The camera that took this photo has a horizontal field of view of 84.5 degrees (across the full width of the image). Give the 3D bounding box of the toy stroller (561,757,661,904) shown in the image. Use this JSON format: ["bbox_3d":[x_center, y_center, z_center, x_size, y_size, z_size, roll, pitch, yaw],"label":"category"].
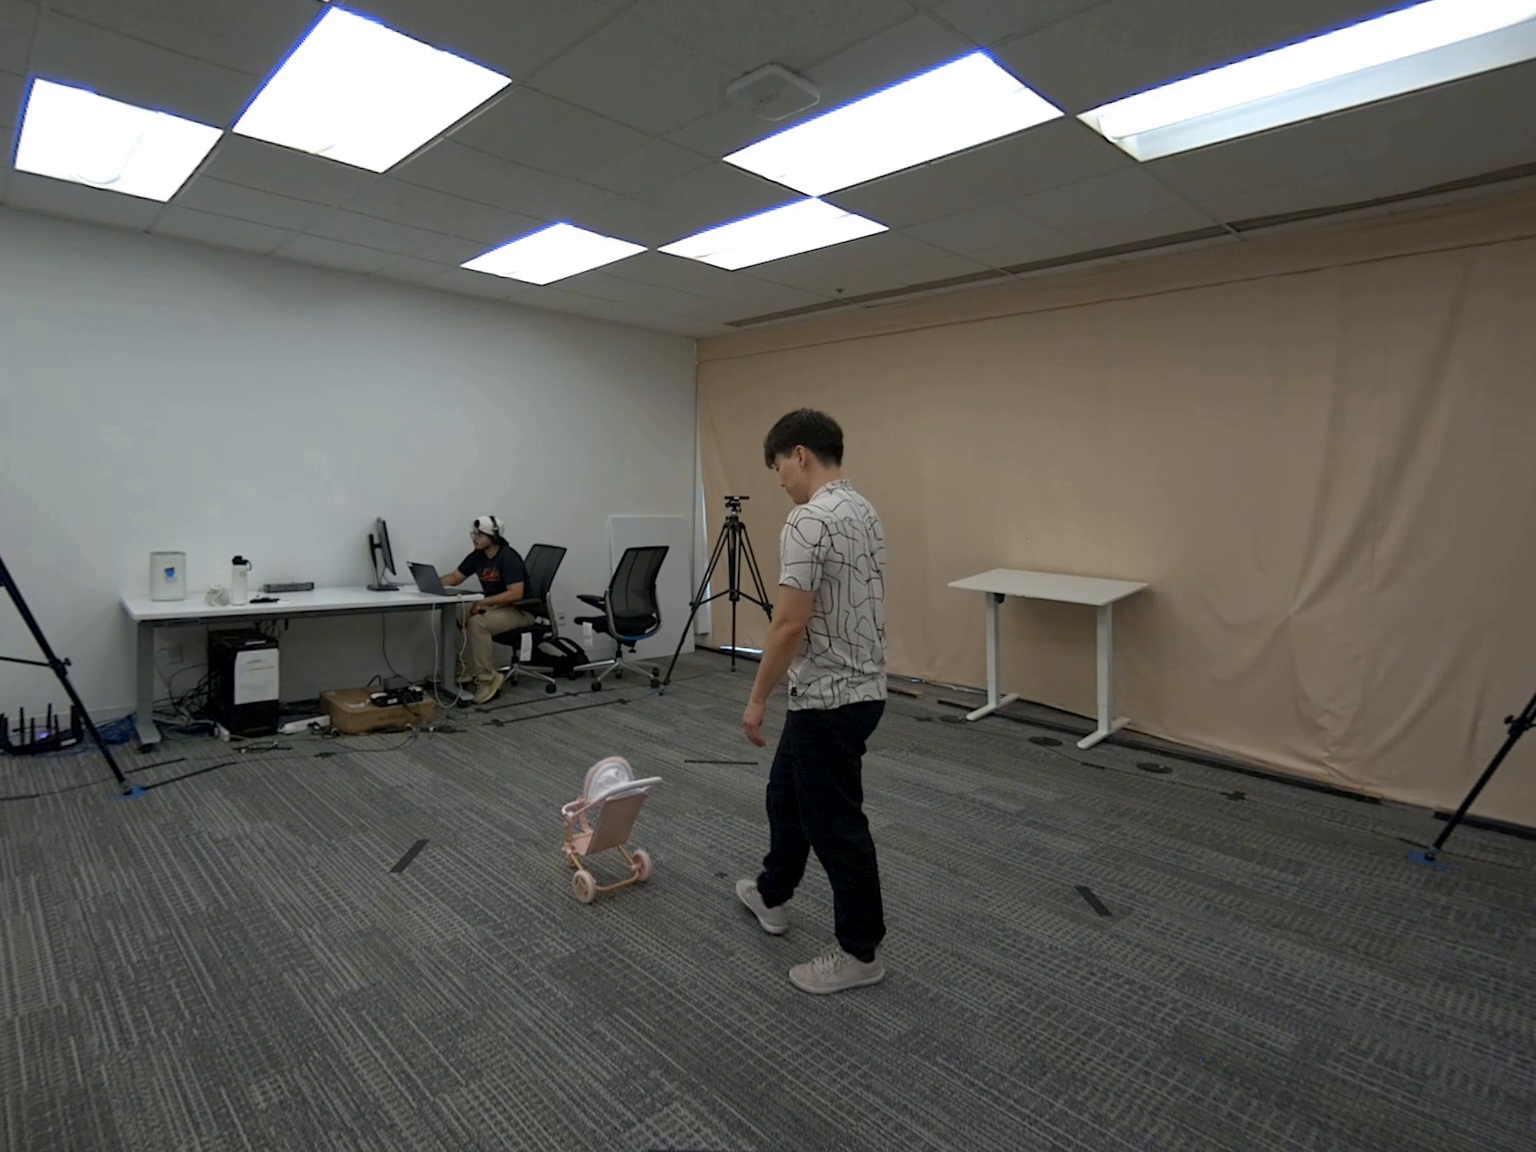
[{"bbox_3d":[-0.586,0.878,2.992,0.275,0.530,0.352,-1,20,-41],"label":"toy stroller"}]
